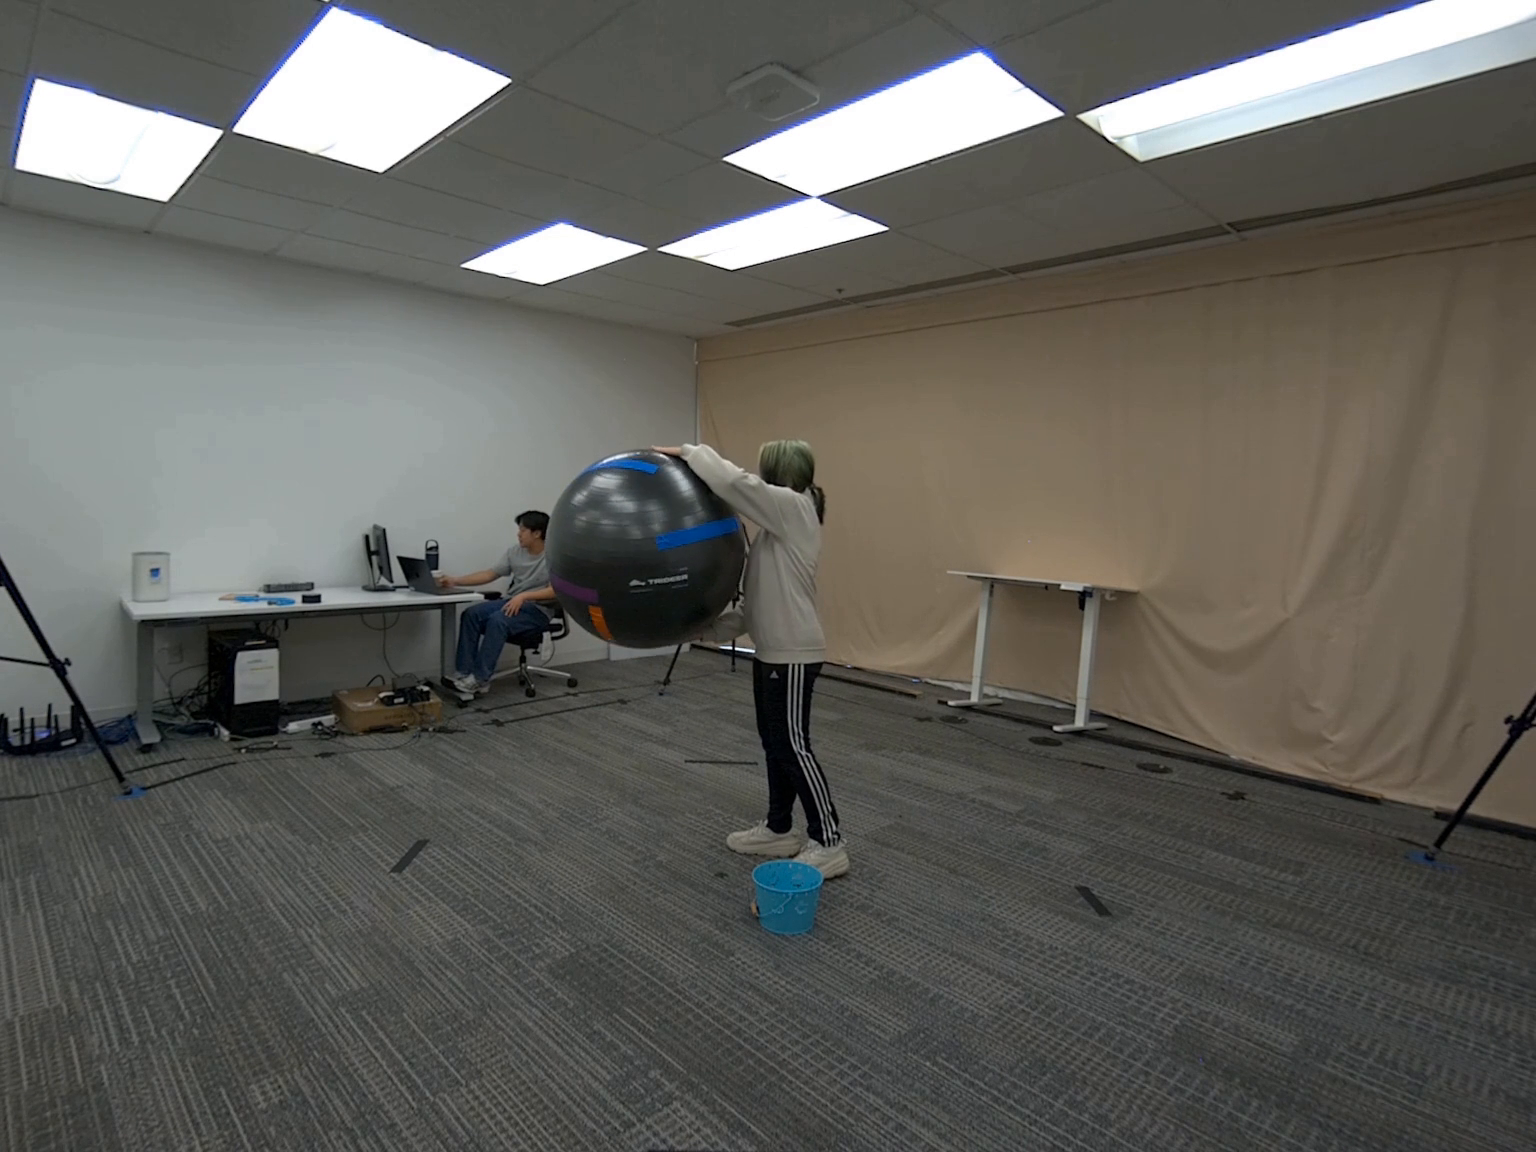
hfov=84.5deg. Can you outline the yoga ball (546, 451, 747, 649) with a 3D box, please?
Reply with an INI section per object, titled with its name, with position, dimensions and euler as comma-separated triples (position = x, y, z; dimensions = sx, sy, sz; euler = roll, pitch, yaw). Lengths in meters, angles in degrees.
[yoga ball]
position = -0.475, -0.101, 3.203
dimensions = 0.757, 0.756, 0.761
euler = 1, 4, -1
